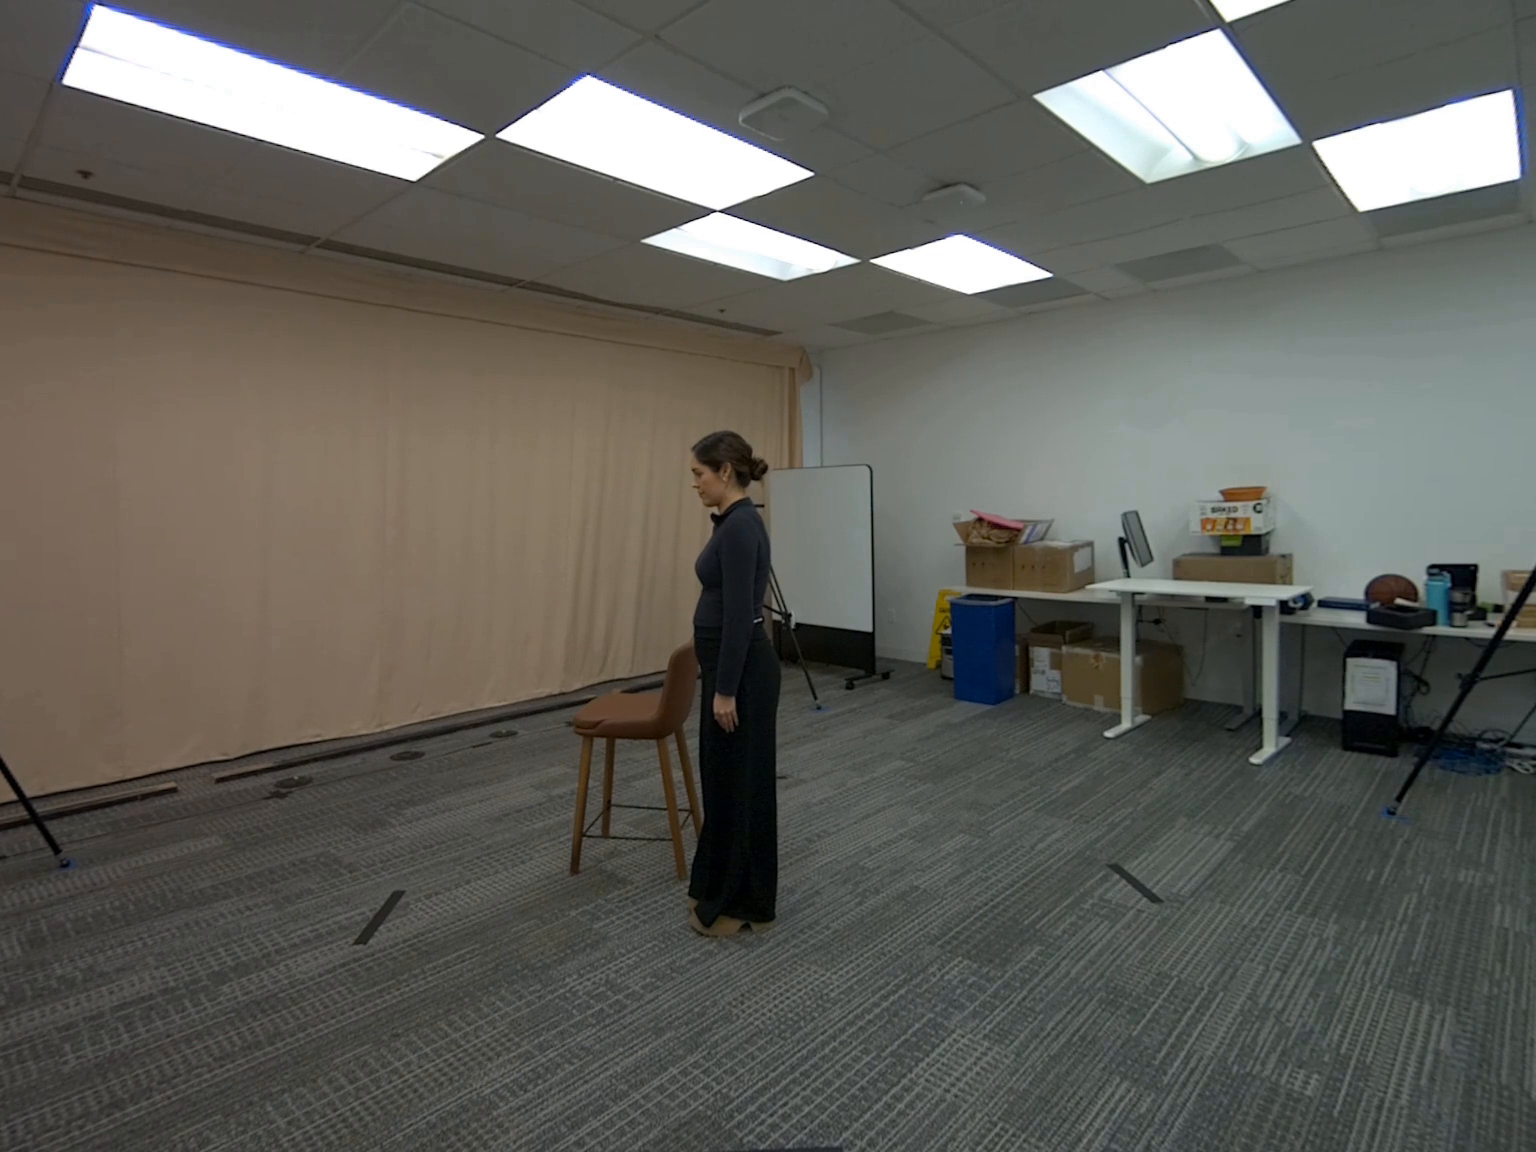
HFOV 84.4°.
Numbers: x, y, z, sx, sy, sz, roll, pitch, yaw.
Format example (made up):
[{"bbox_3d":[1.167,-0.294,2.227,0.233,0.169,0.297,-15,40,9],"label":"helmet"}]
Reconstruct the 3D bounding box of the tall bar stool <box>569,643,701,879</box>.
[{"bbox_3d":[-0.513,0.687,3.337,0.473,0.888,0.452,1,4,9],"label":"tall bar stool"}]
